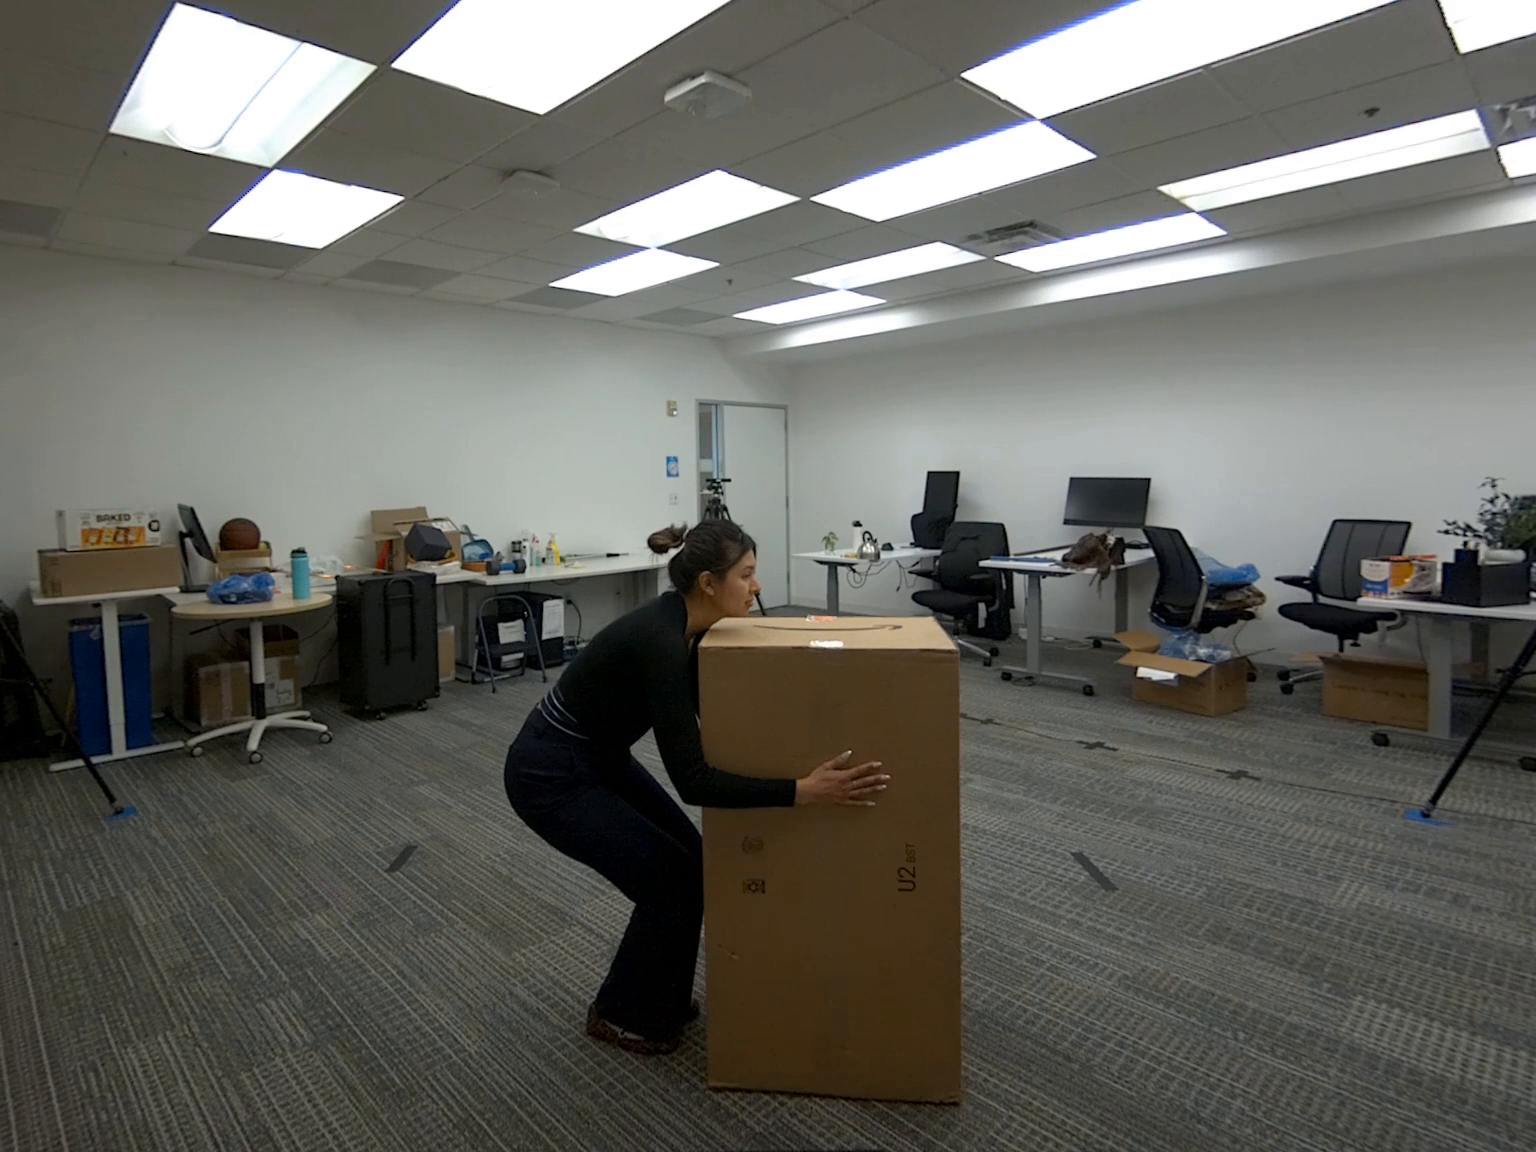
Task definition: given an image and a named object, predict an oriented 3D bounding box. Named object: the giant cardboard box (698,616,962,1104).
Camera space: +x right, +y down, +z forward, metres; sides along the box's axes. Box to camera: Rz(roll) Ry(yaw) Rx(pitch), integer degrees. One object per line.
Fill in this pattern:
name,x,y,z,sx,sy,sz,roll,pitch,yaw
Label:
giant cardboard box,0.152,0.641,2.104,0.581,1.022,0.425,-1,4,6
